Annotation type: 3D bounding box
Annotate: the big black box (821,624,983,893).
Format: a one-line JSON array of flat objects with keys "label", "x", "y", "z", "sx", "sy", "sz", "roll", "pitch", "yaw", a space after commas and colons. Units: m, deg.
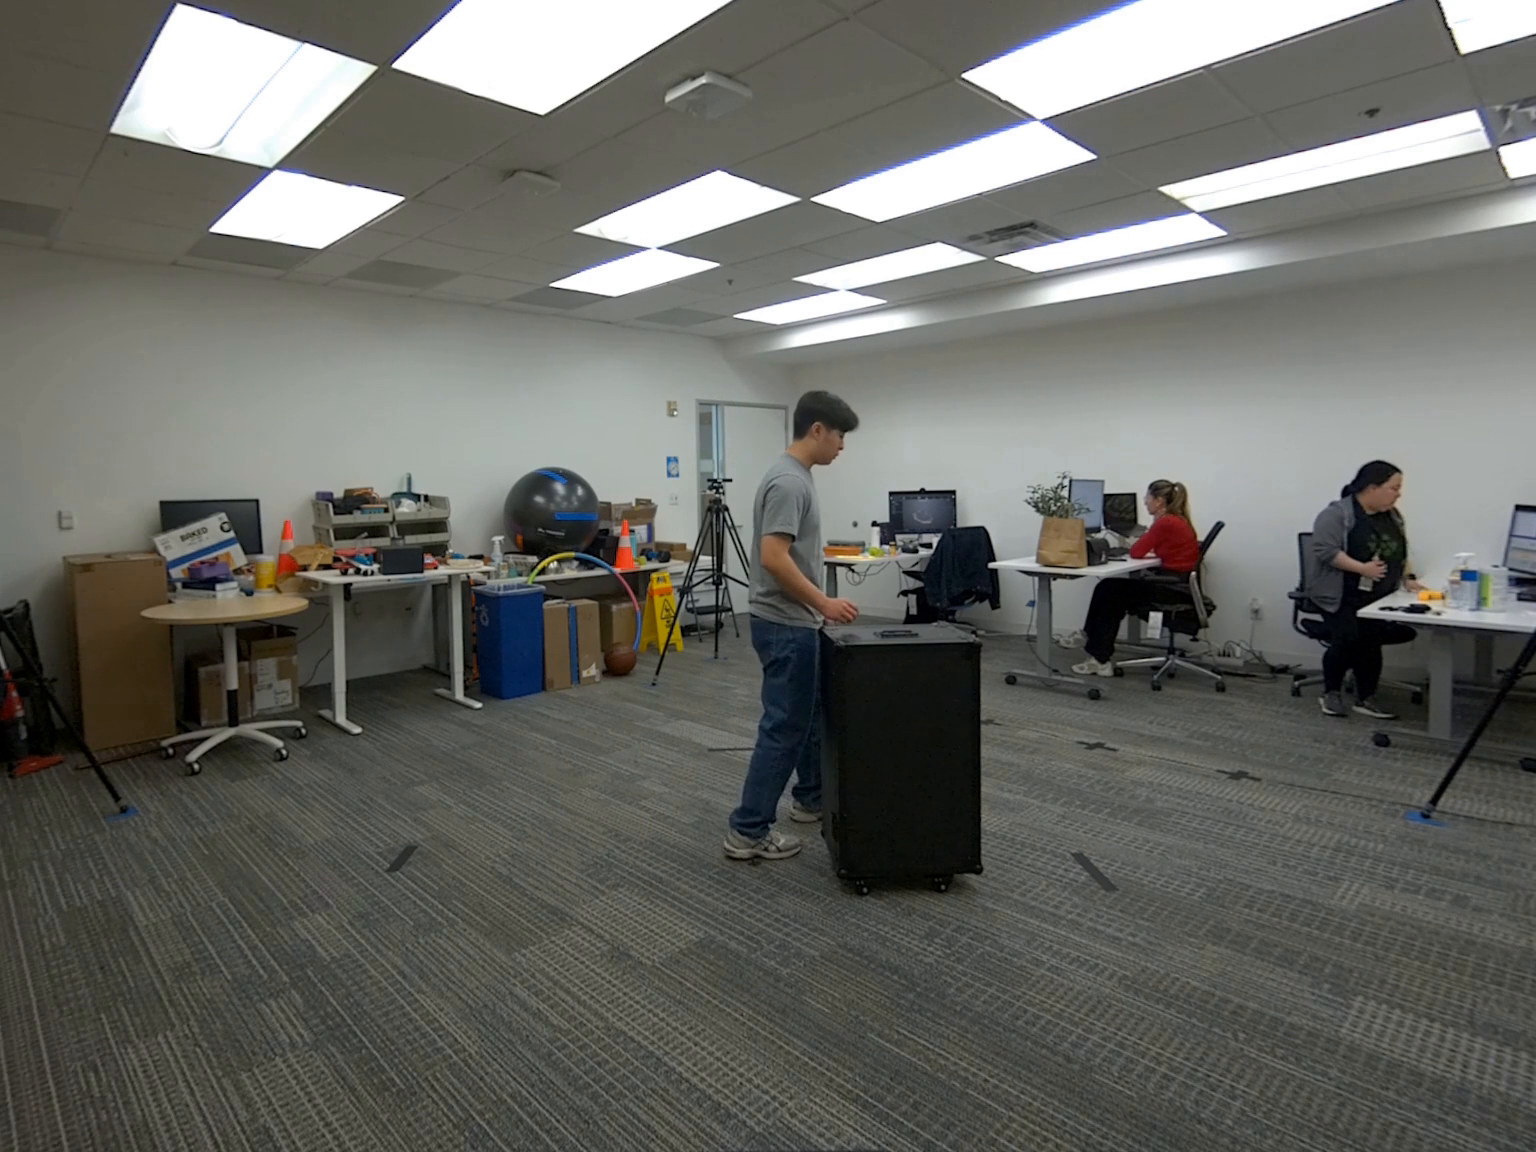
[{"label": "big black box", "x": 0.456, "y": 0.625, "z": 2.991, "sx": 0.519, "sy": 0.859, "sz": 0.399, "roll": -2, "pitch": 3, "yaw": -5}]
